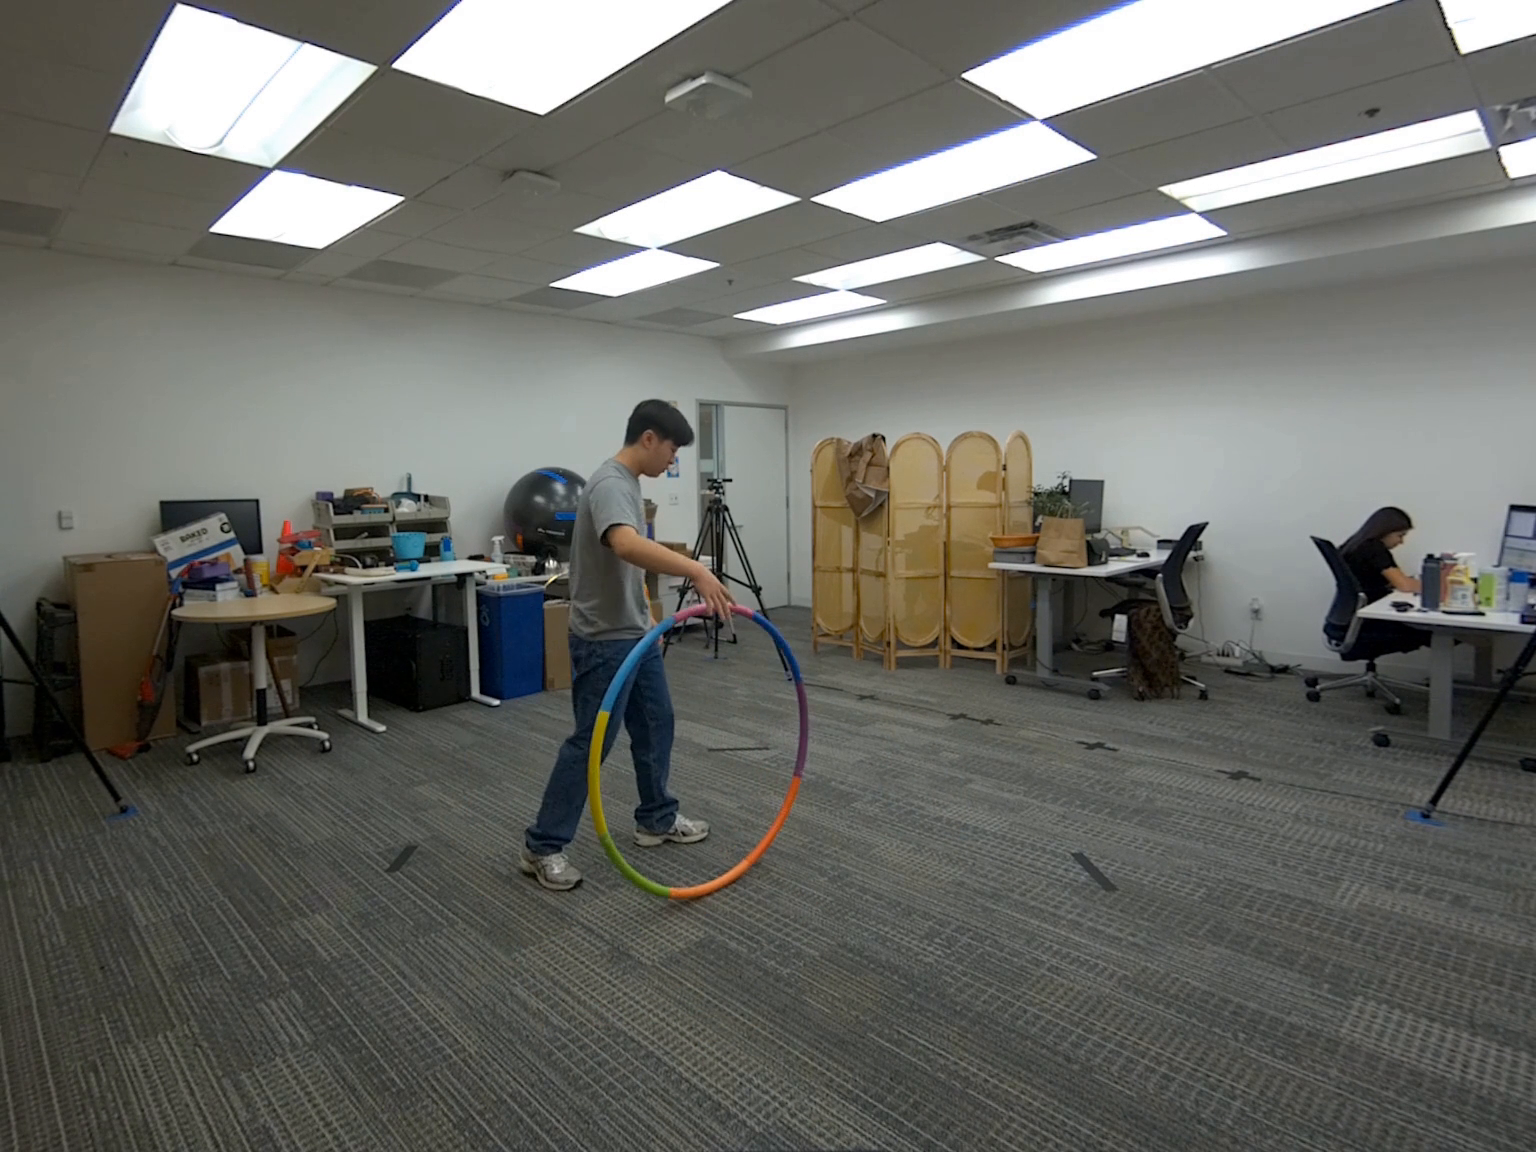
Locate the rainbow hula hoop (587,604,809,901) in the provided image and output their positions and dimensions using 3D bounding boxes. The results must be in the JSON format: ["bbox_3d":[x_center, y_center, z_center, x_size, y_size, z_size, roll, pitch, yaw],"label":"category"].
[{"bbox_3d":[-0.194,0.580,2.890,0.036,0.976,0.953,1,4,45],"label":"rainbow hula hoop"}]
